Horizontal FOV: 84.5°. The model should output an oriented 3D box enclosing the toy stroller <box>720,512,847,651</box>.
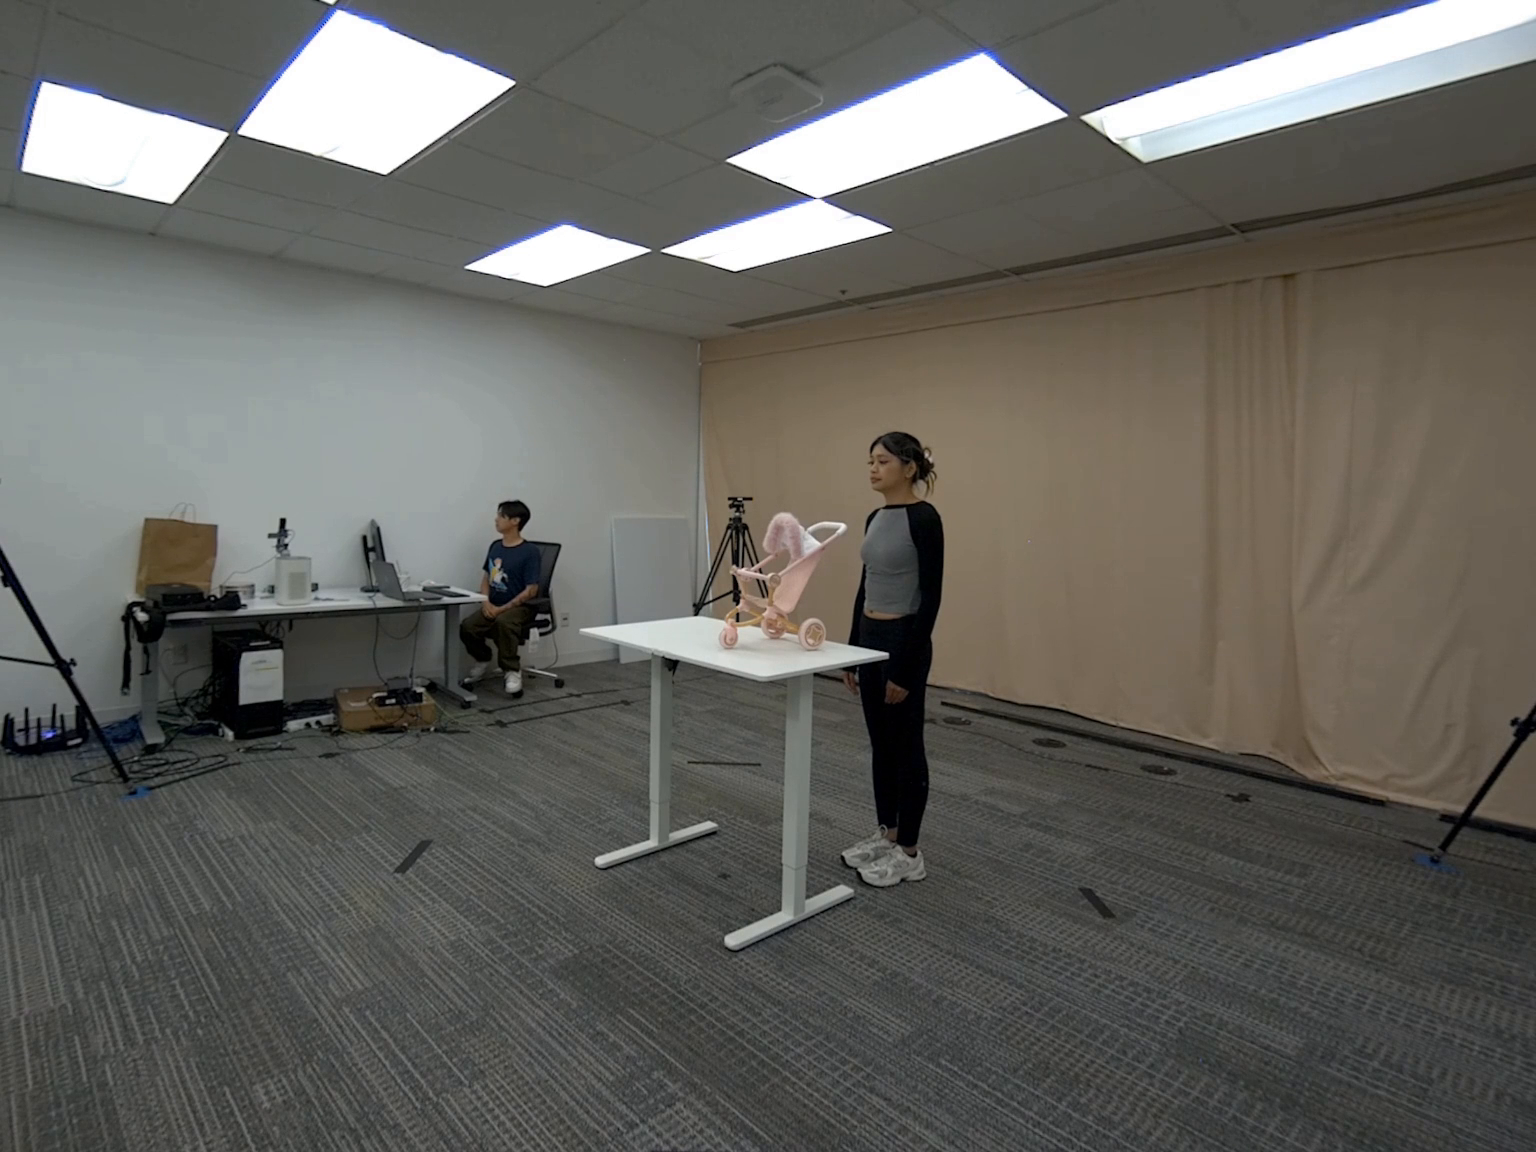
[{"bbox_3d":[0.032,0.020,2.930,0.334,0.535,0.287,17,-3,-25],"label":"toy stroller"}]
